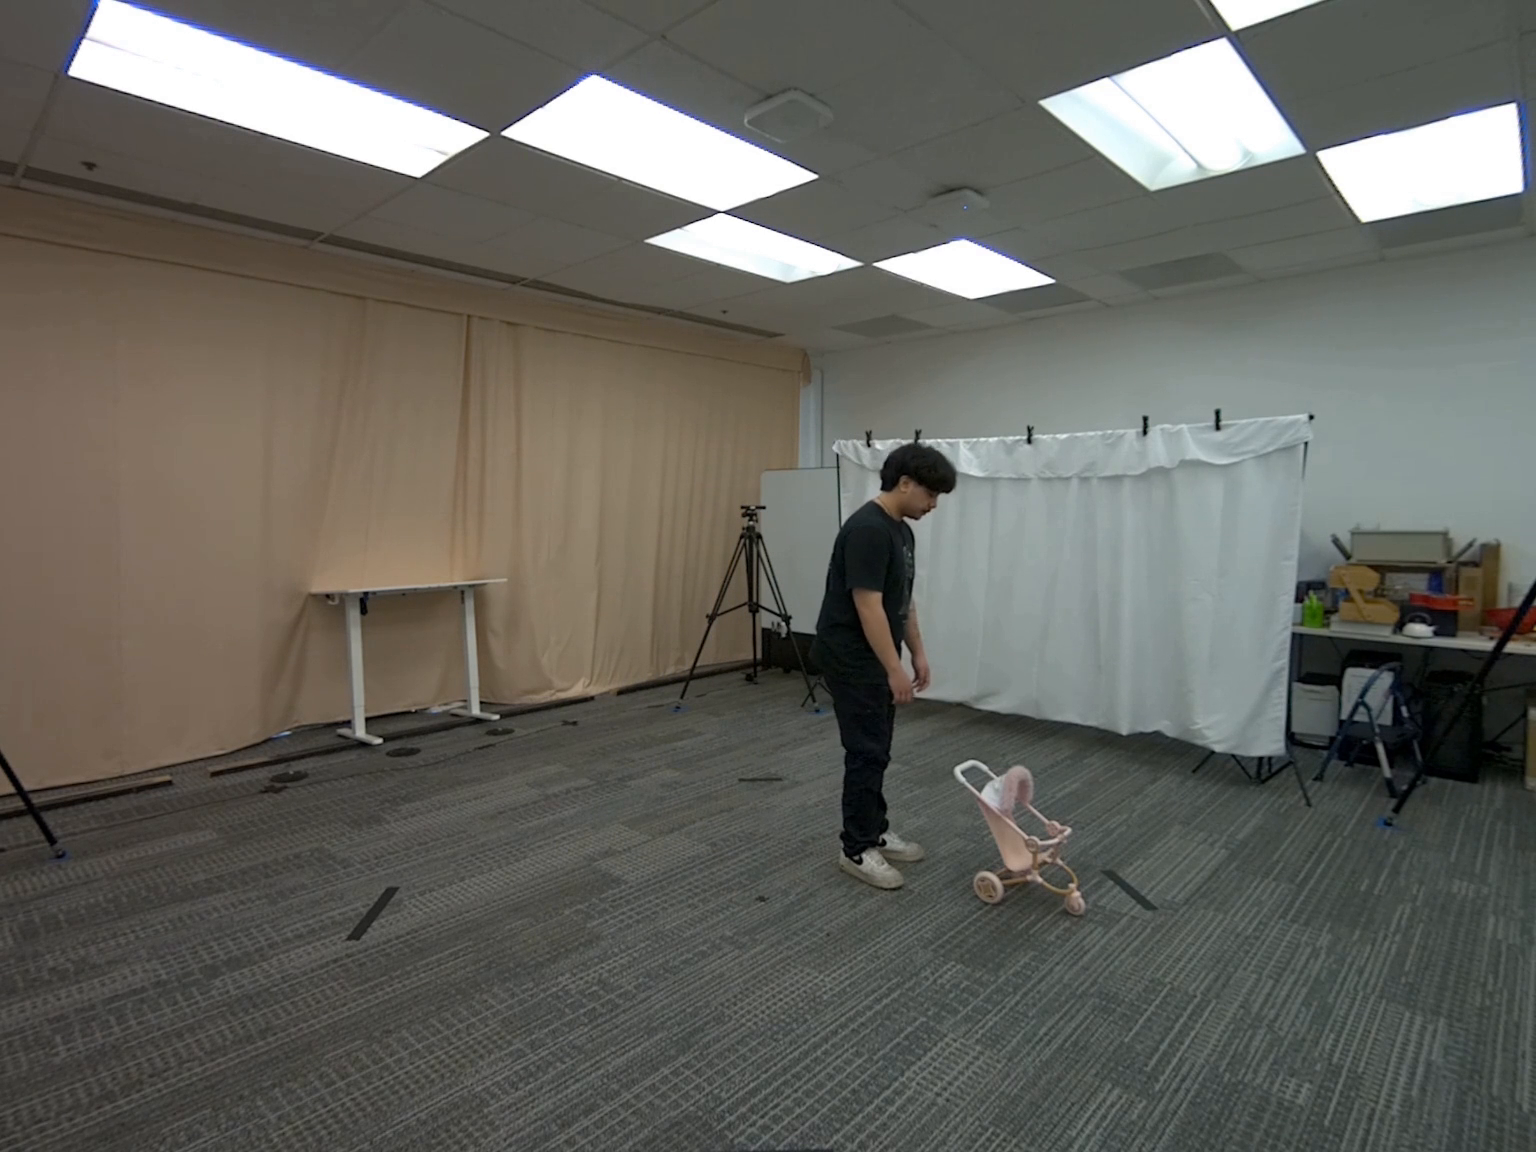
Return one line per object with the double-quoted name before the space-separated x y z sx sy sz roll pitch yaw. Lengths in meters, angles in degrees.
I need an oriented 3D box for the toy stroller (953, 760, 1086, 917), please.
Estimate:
"toy stroller" 0.905 0.917 2.982 0.273 0.539 0.349 -3 -12 -45
